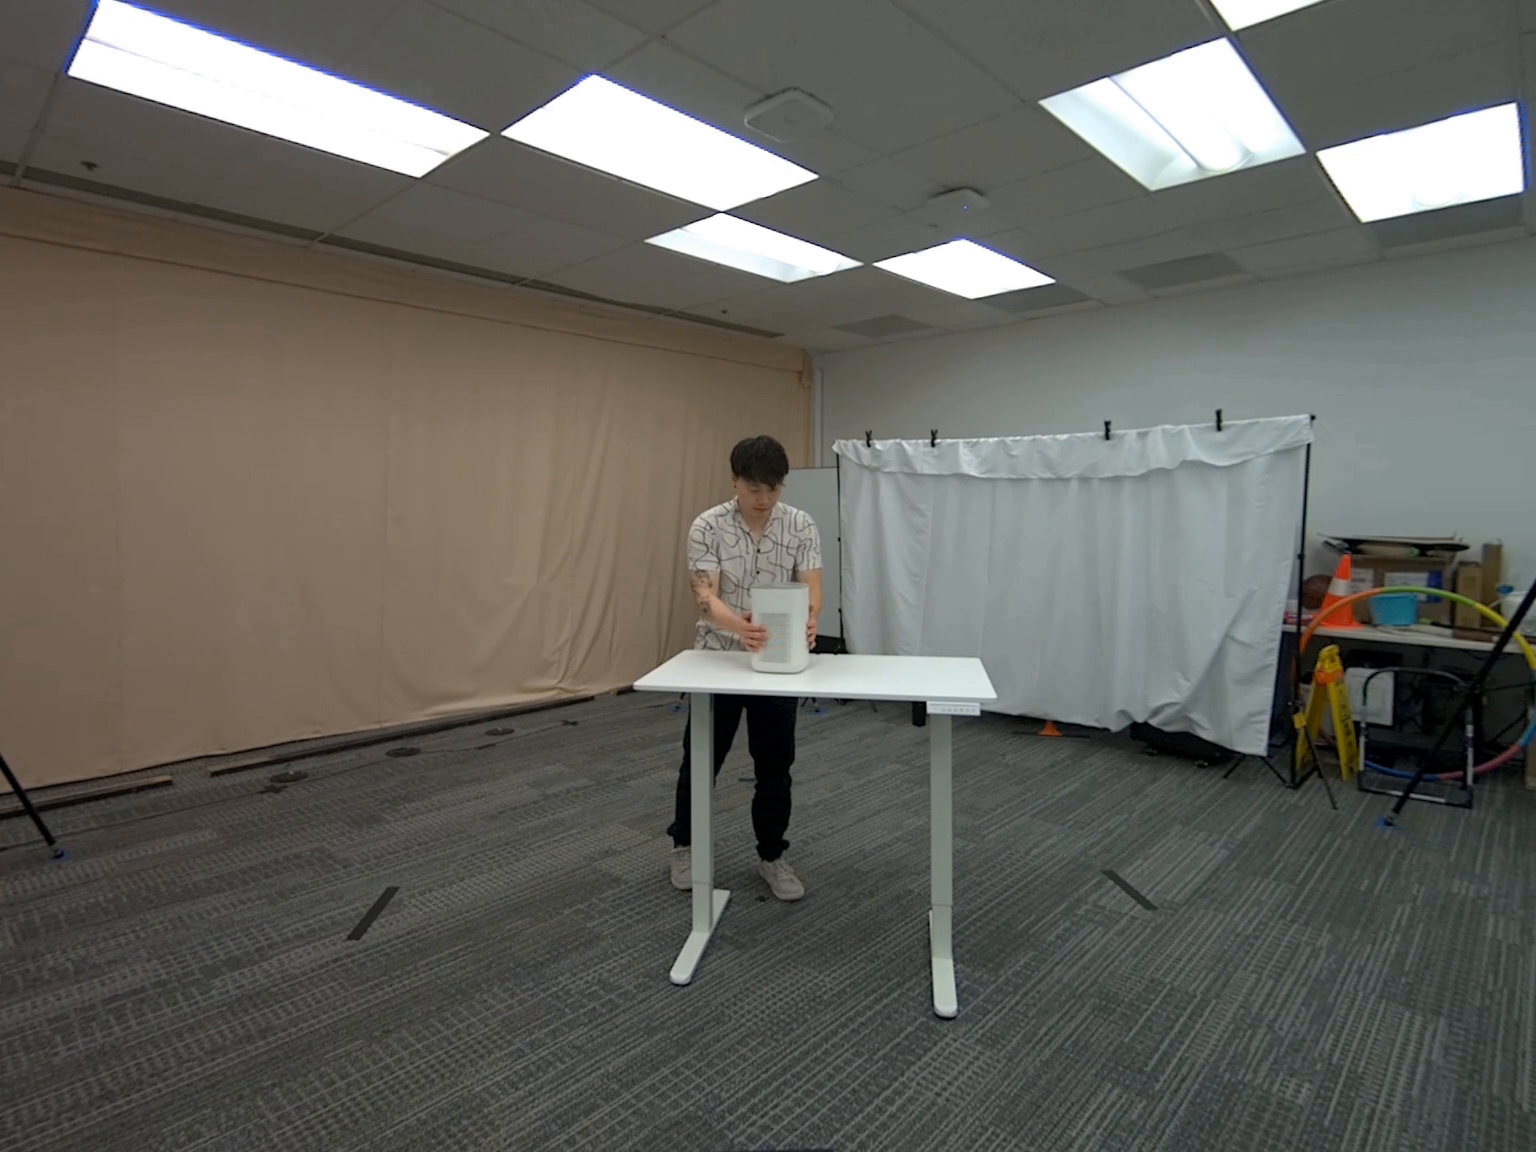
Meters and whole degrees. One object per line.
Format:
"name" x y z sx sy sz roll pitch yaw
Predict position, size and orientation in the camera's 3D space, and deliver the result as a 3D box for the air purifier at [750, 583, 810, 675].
"air purifier" 0.038 0.162 2.618 0.174 0.265 0.169 1 2 13
